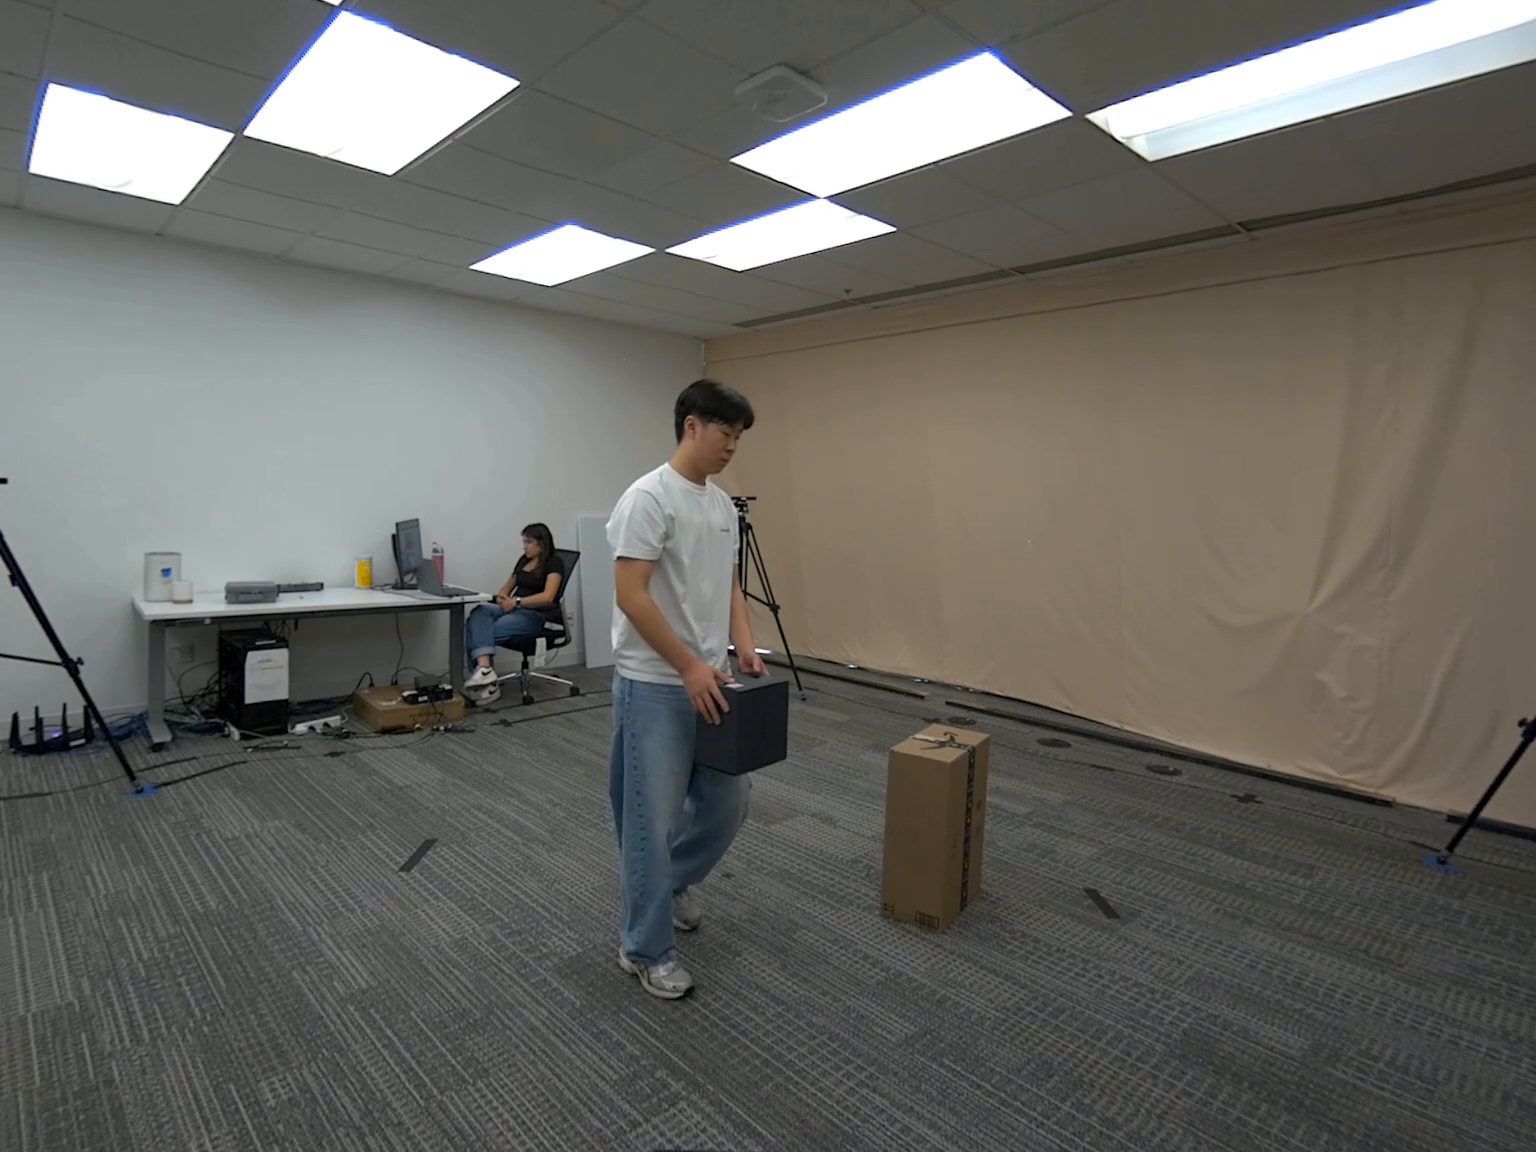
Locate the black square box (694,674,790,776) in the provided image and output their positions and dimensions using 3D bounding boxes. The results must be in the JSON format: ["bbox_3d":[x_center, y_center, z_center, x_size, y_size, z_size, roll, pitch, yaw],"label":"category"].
[{"bbox_3d":[-0.082,0.402,2.336,0.160,0.227,0.212,5,6,39],"label":"black square box"}]
